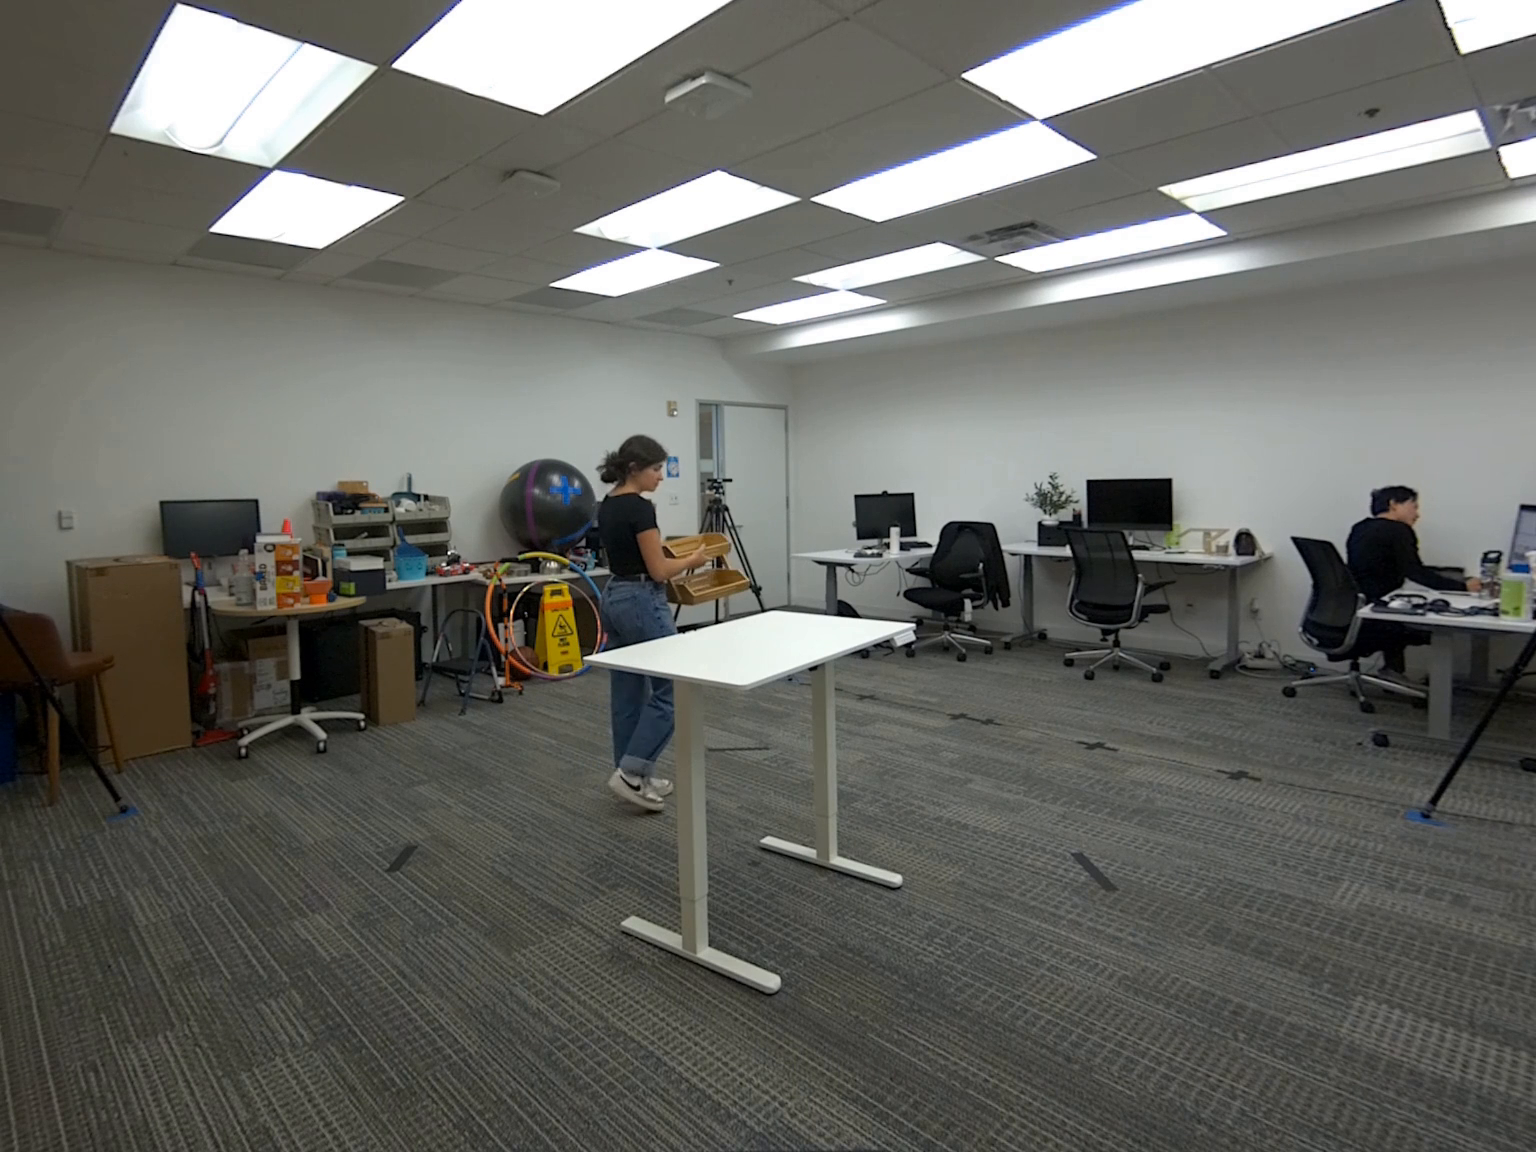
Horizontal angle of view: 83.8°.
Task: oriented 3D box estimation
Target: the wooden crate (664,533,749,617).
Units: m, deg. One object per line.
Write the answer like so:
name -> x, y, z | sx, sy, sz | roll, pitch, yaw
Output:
wooden crate -> -0.303, -0.038, 3.799 | 0.318, 0.271, 0.310 | -14, 9, -36
